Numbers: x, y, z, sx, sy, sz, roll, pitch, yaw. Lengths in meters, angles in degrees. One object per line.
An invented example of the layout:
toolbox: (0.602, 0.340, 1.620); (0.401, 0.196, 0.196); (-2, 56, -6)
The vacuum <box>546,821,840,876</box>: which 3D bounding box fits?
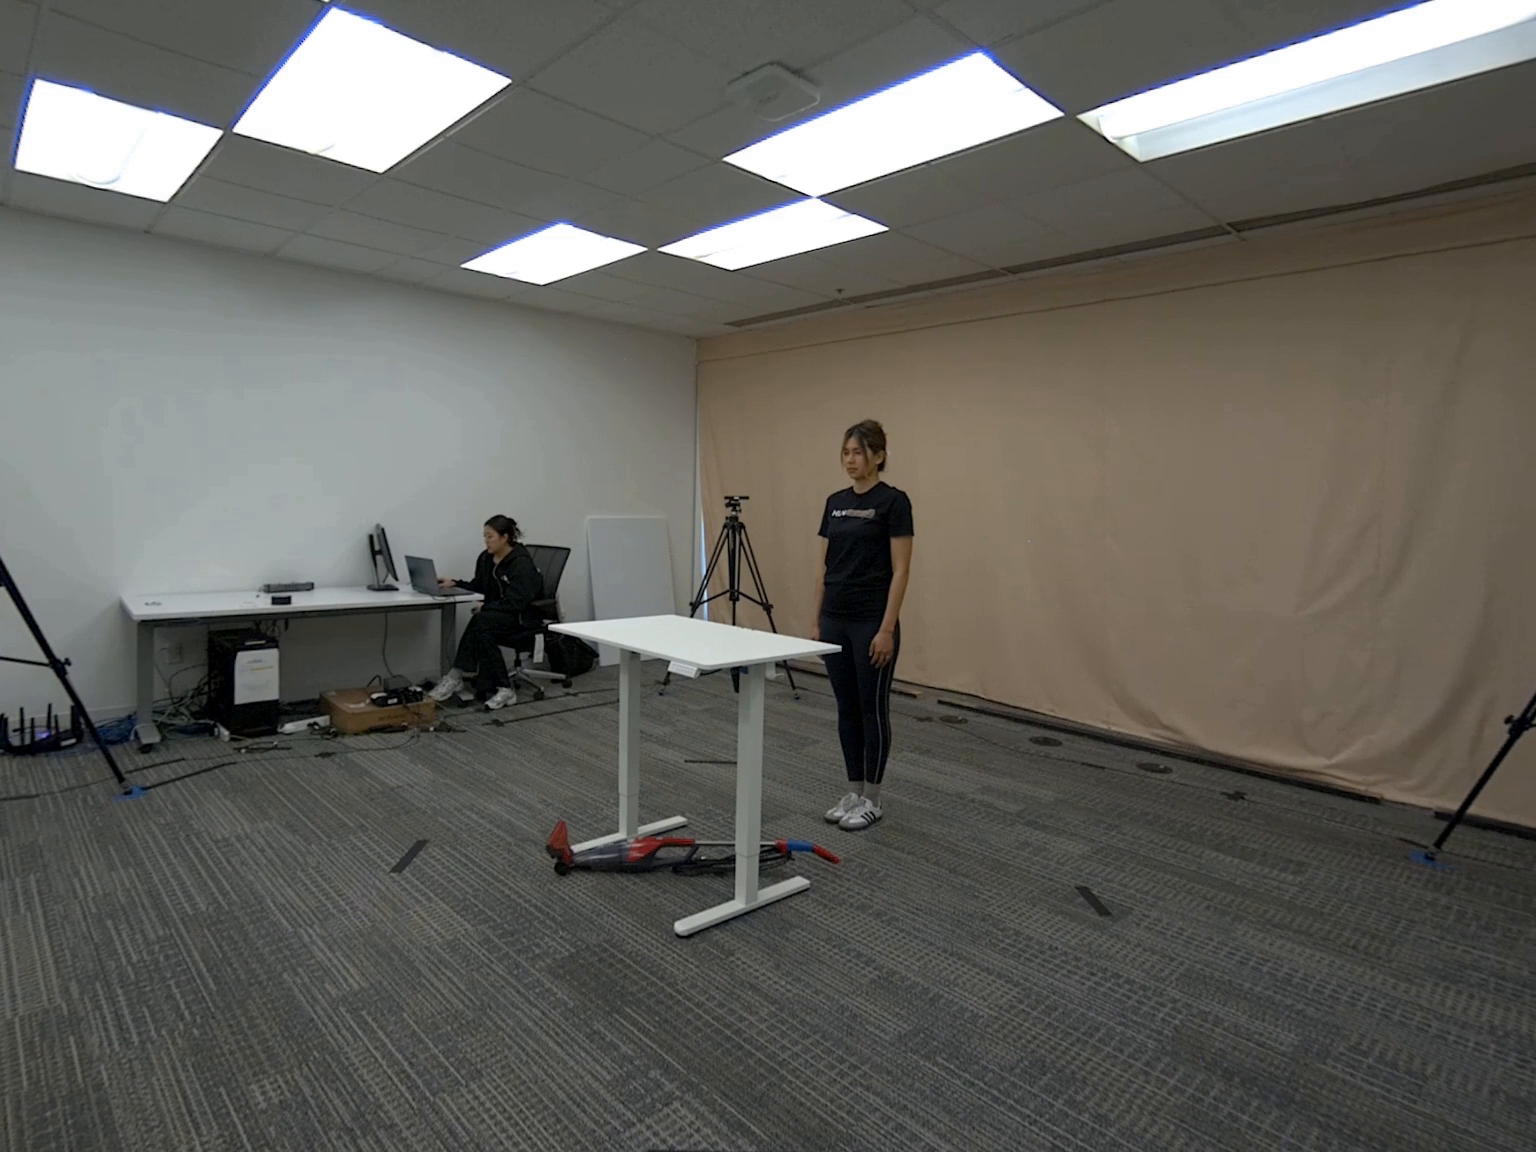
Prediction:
vacuum: (-0.269, 1.033, 3.125); (1.048, 0.144, 0.253); (3, 3, -1)
